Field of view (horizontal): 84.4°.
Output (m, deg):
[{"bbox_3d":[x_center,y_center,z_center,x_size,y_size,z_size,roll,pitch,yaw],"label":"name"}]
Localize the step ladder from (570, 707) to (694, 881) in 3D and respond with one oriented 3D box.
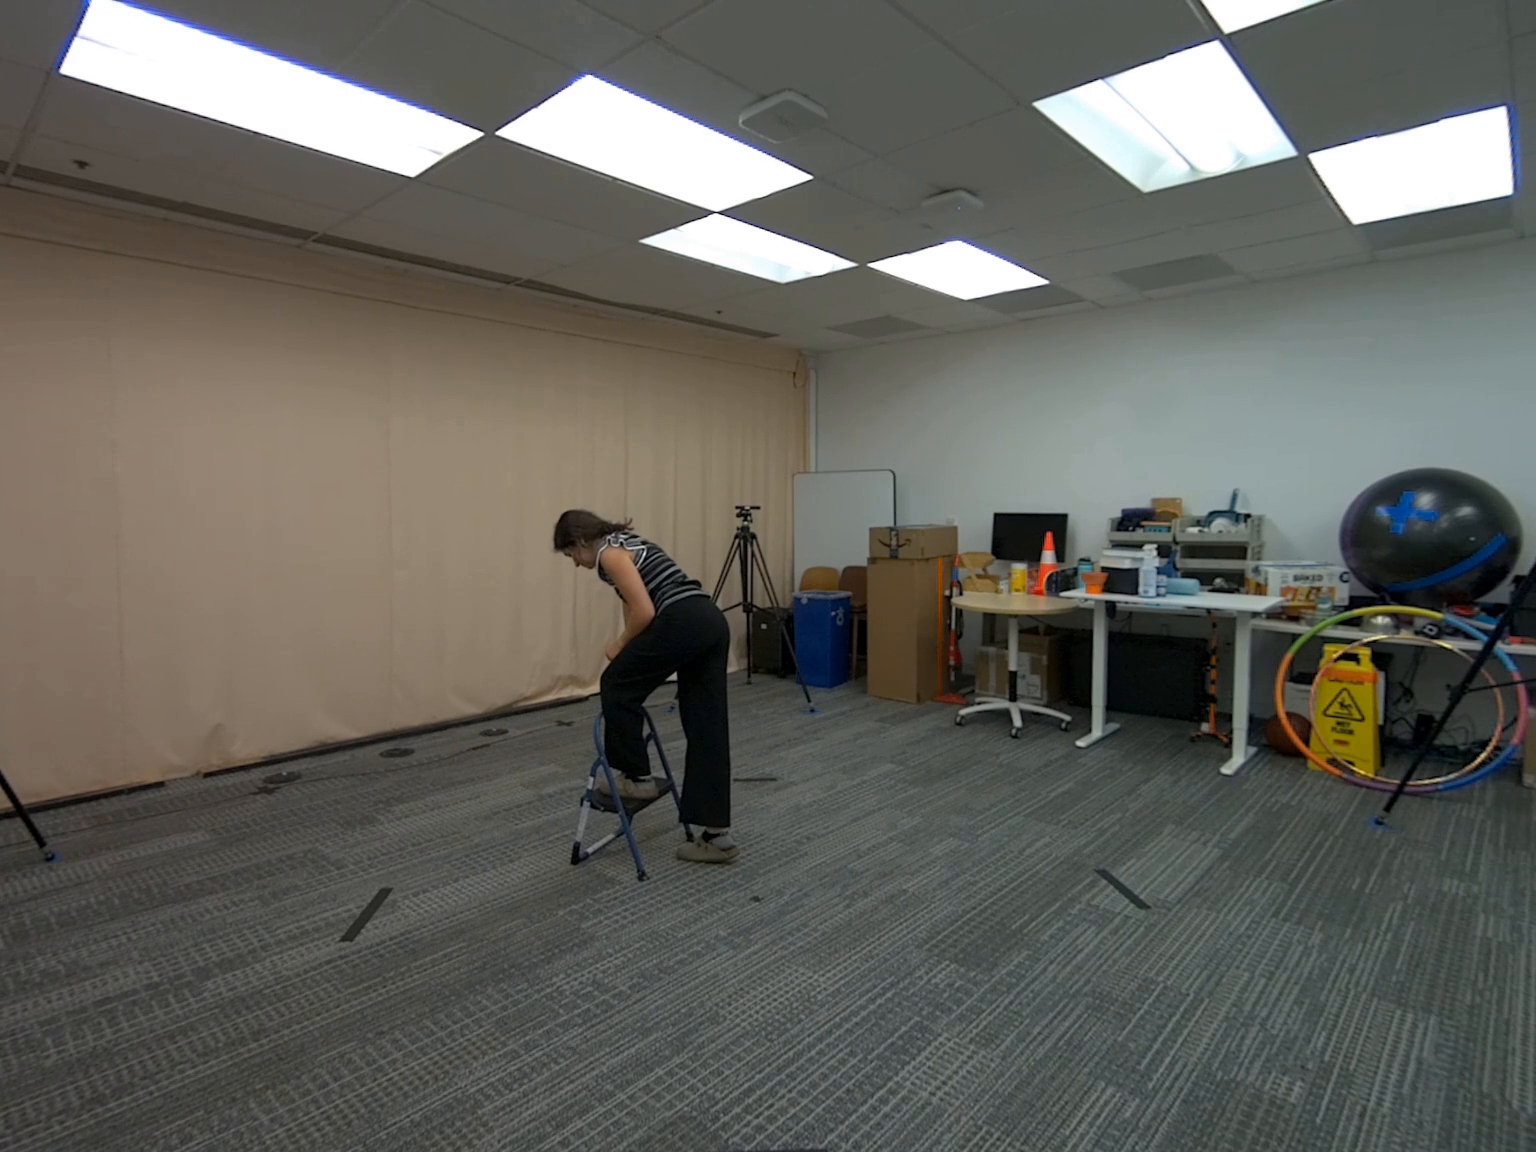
[{"bbox_3d":[-0.538,0.813,3.383,0.358,0.605,0.421,0,3,23],"label":"step ladder"}]
